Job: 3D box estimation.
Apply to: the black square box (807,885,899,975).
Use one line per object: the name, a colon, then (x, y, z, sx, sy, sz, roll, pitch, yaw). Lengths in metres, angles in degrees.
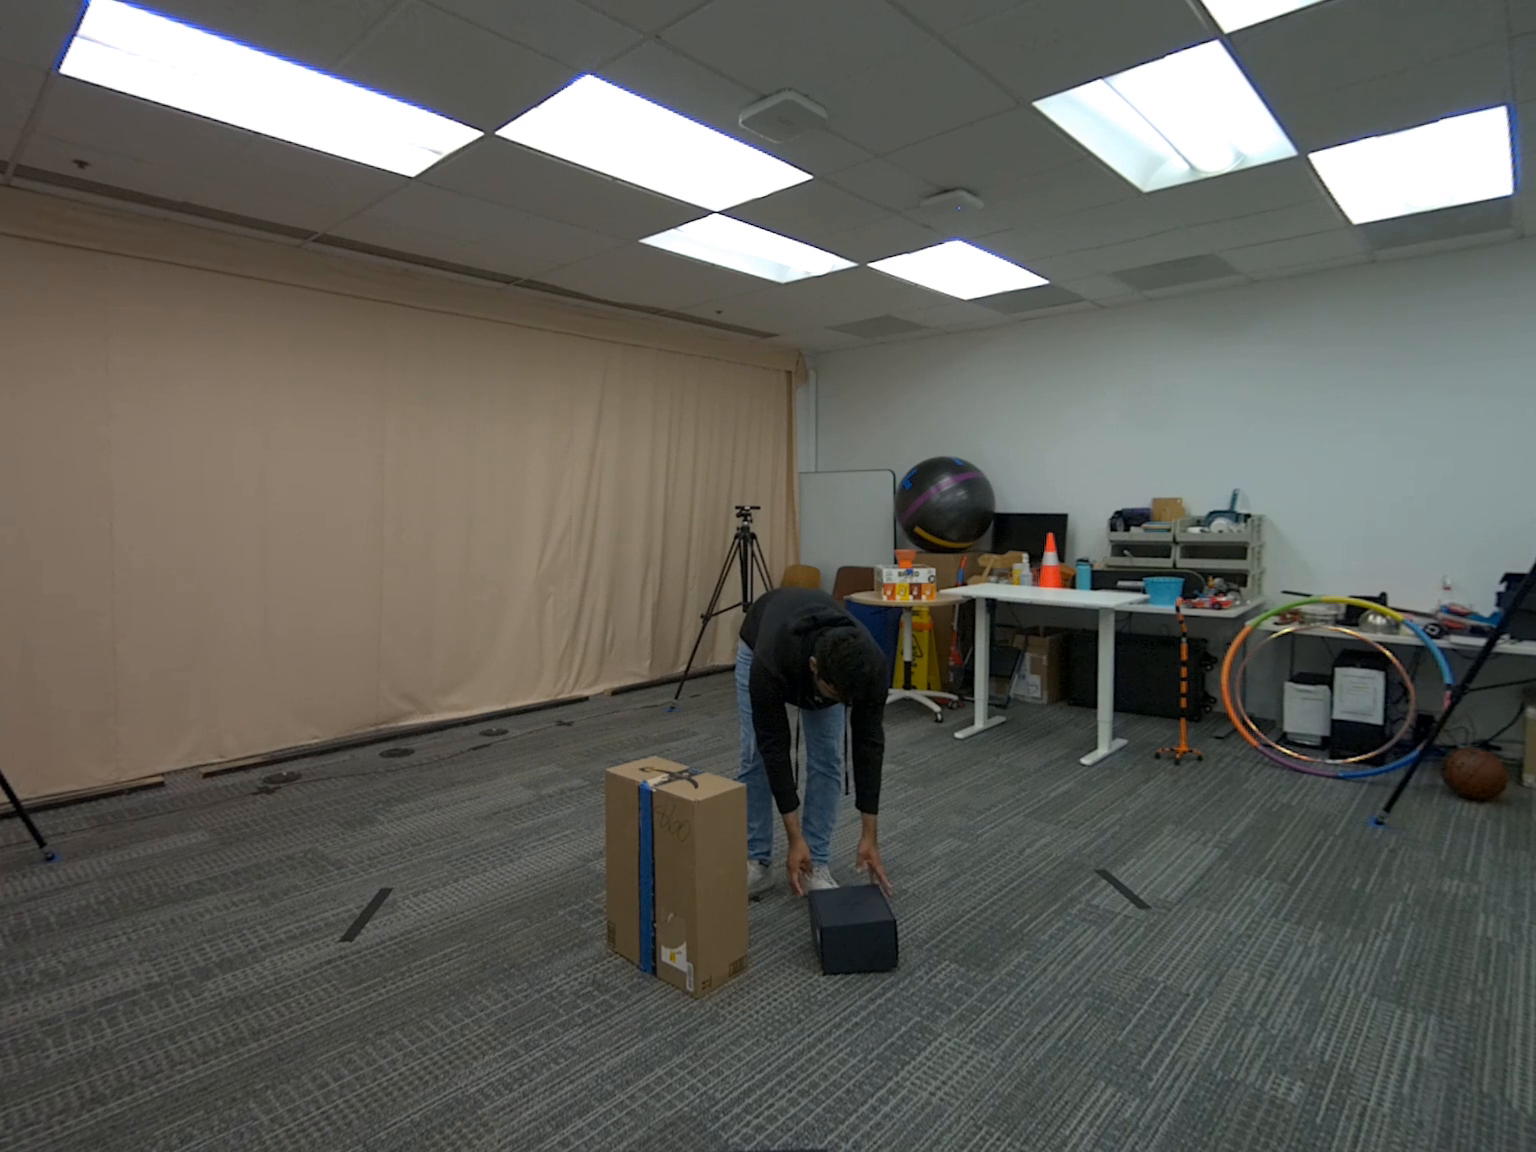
black square box: (0.261, 1.059, 2.591, 0.227, 0.155, 0.218, 0, 6, -4)
